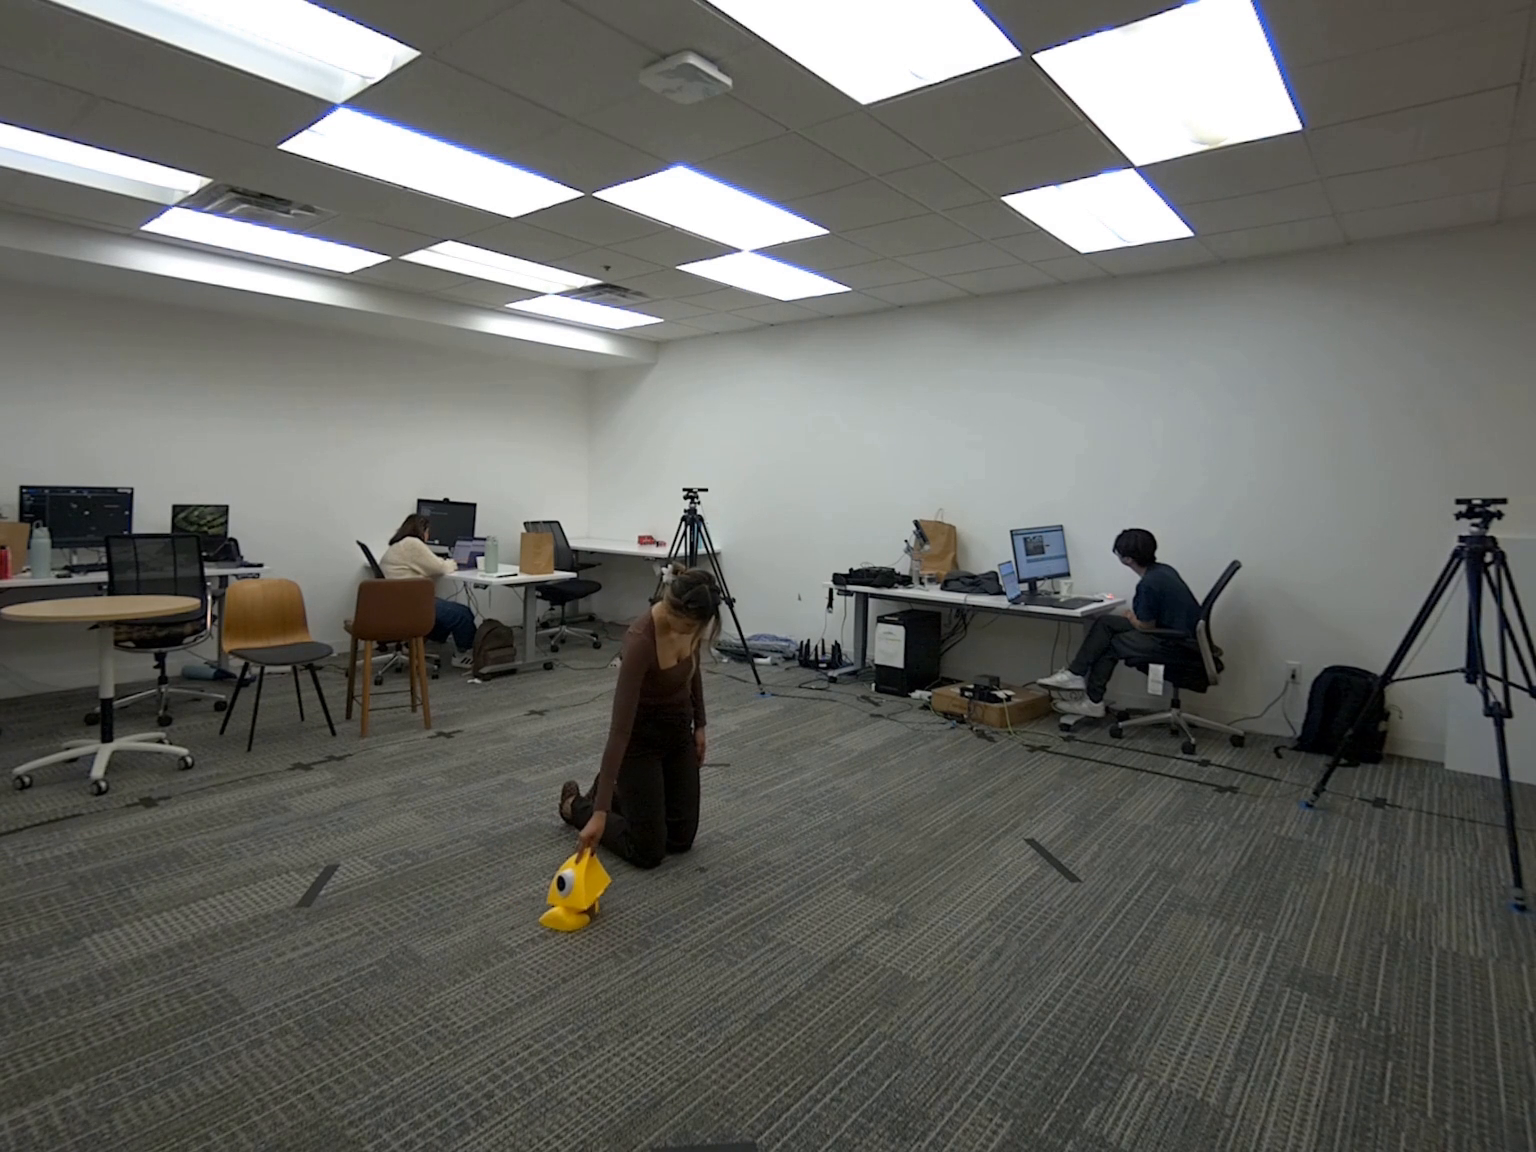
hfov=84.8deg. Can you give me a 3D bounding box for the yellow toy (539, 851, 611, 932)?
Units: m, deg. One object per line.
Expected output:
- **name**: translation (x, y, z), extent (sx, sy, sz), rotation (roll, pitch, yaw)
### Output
- **yellow toy**: translation (-0.638, 0.984, 2.752), extent (0.196, 0.230, 0.202), rotation (3, 4, 14)
